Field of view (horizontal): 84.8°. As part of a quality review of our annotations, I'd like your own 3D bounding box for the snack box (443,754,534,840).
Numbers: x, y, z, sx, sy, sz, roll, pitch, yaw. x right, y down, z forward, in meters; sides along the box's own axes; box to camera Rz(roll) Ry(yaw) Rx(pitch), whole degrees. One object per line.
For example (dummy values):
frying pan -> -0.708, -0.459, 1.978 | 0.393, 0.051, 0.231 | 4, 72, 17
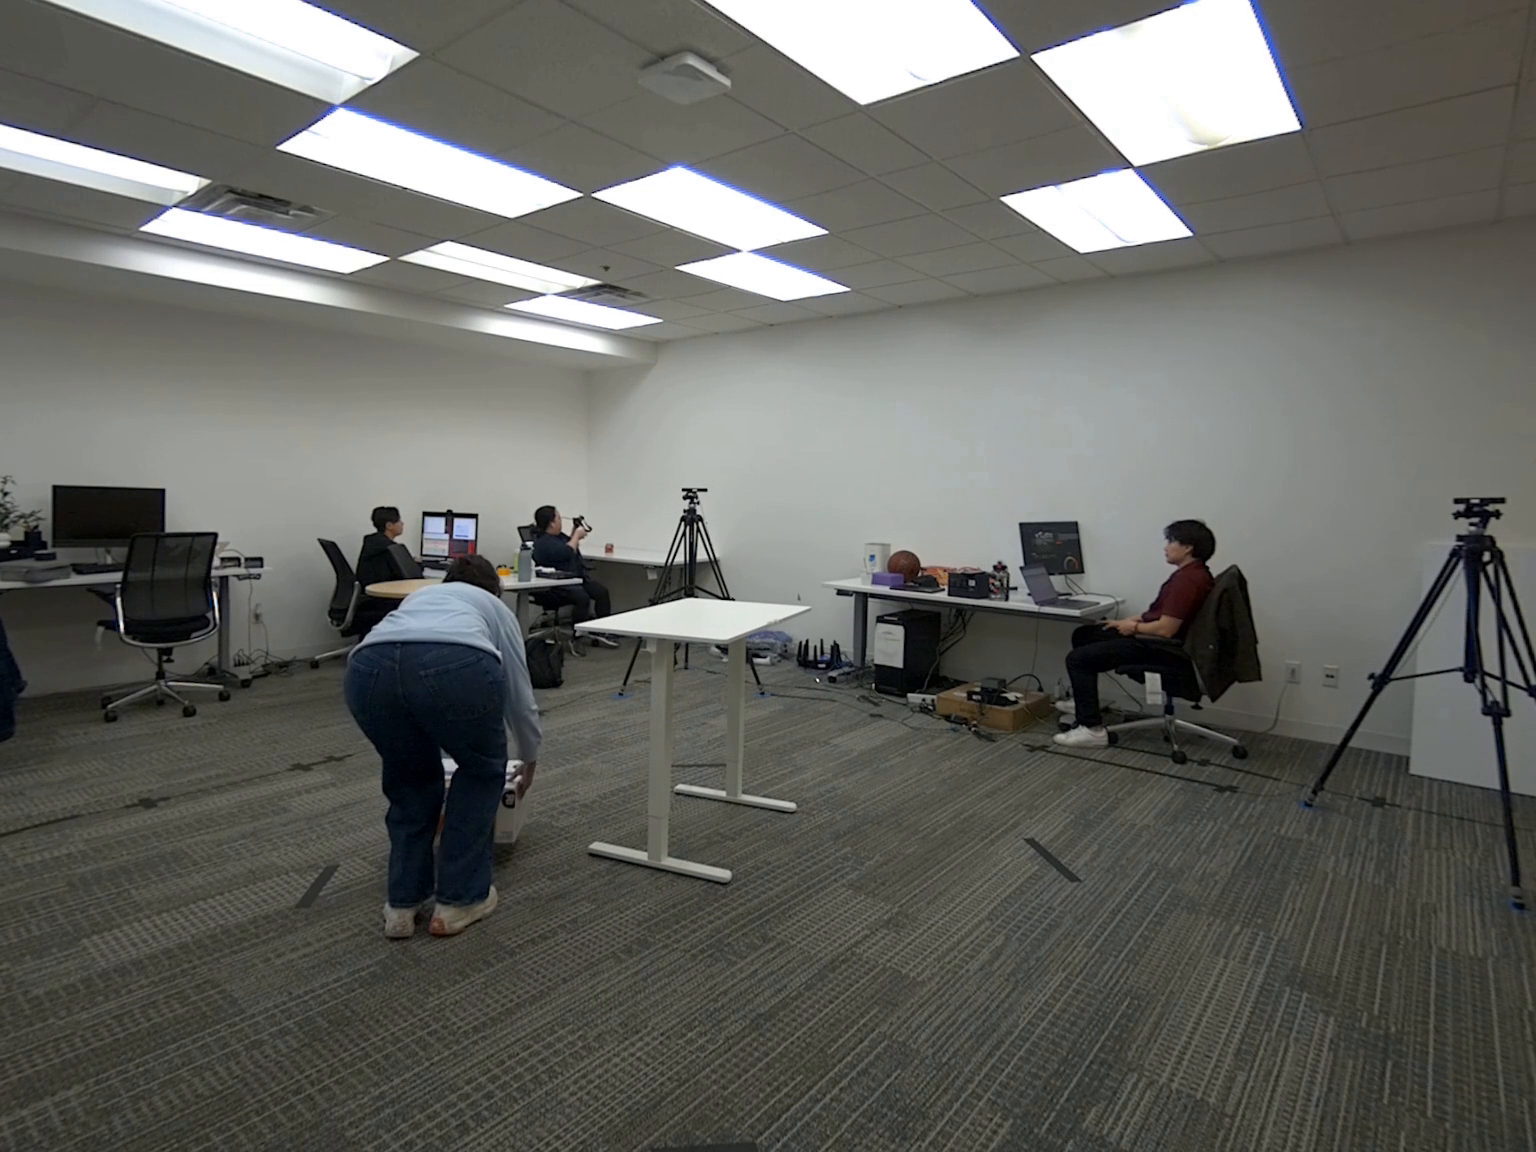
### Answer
snack box -> -1.129, 0.832, 3.208 | 0.403, 0.205, 0.343 | 1, 4, -5
